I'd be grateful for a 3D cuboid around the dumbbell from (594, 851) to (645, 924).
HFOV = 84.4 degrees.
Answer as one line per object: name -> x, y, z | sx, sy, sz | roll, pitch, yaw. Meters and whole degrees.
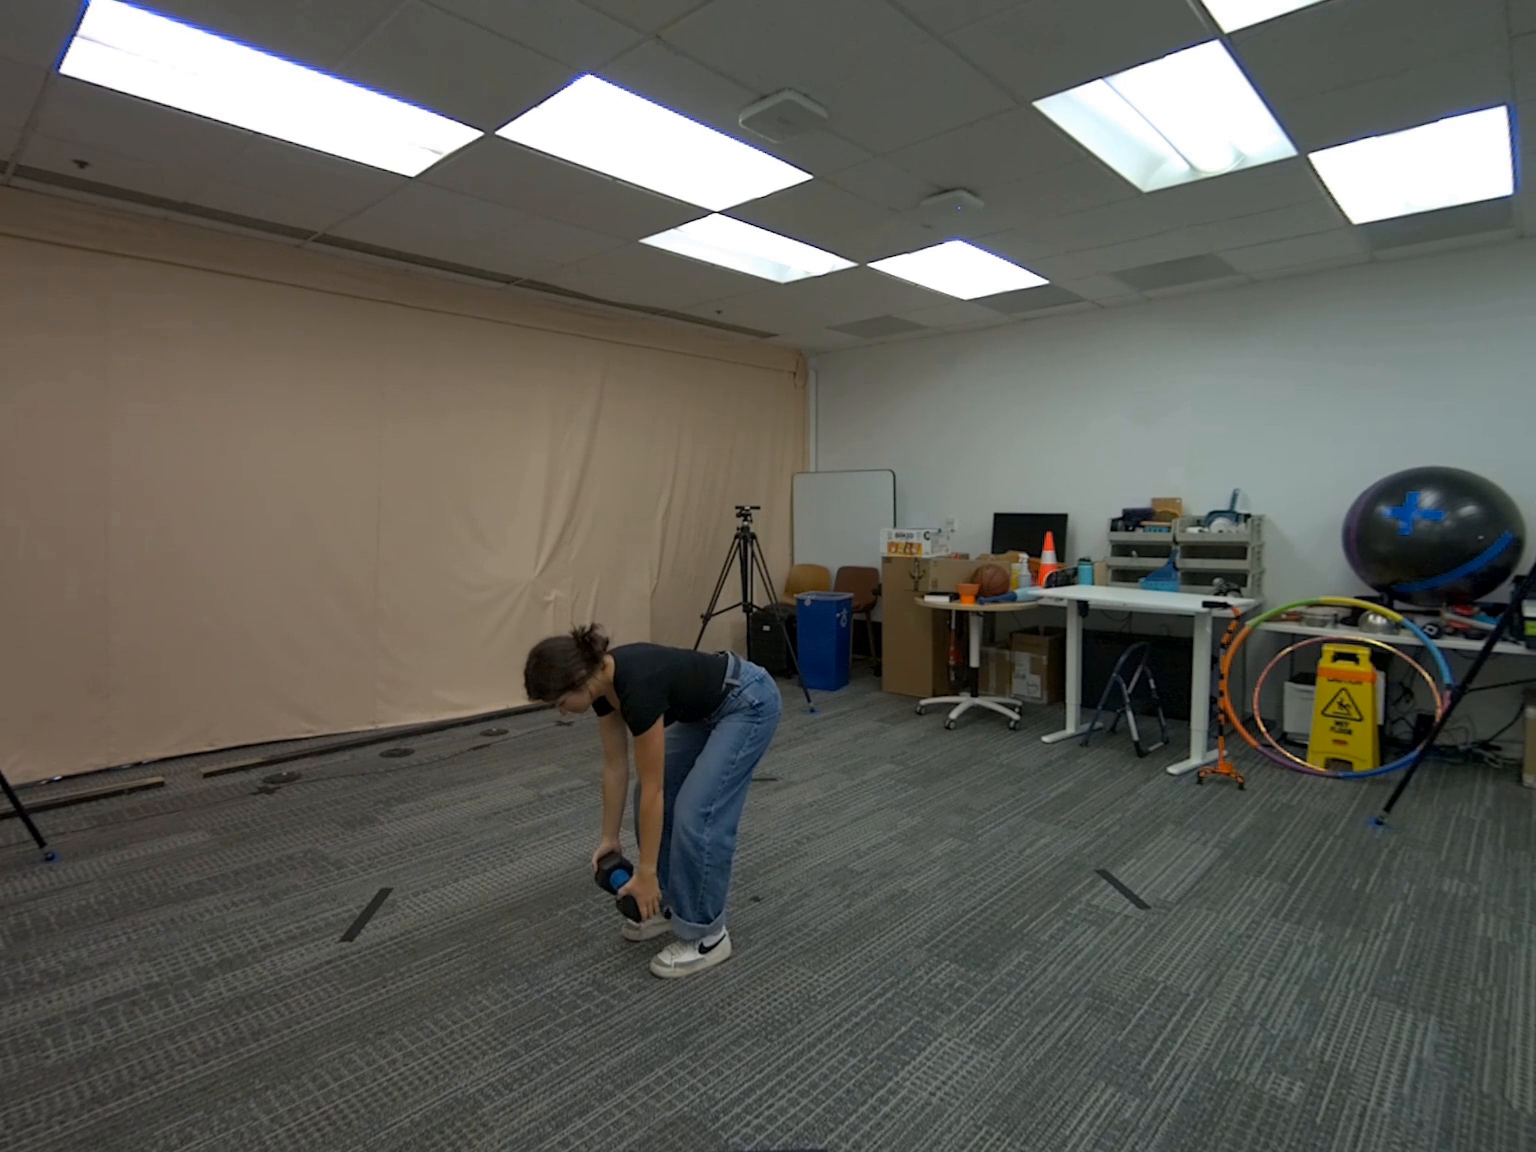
dumbbell -> -0.443, 0.949, 2.582 | 0.120, 0.108, 0.301 | 41, -14, -23
